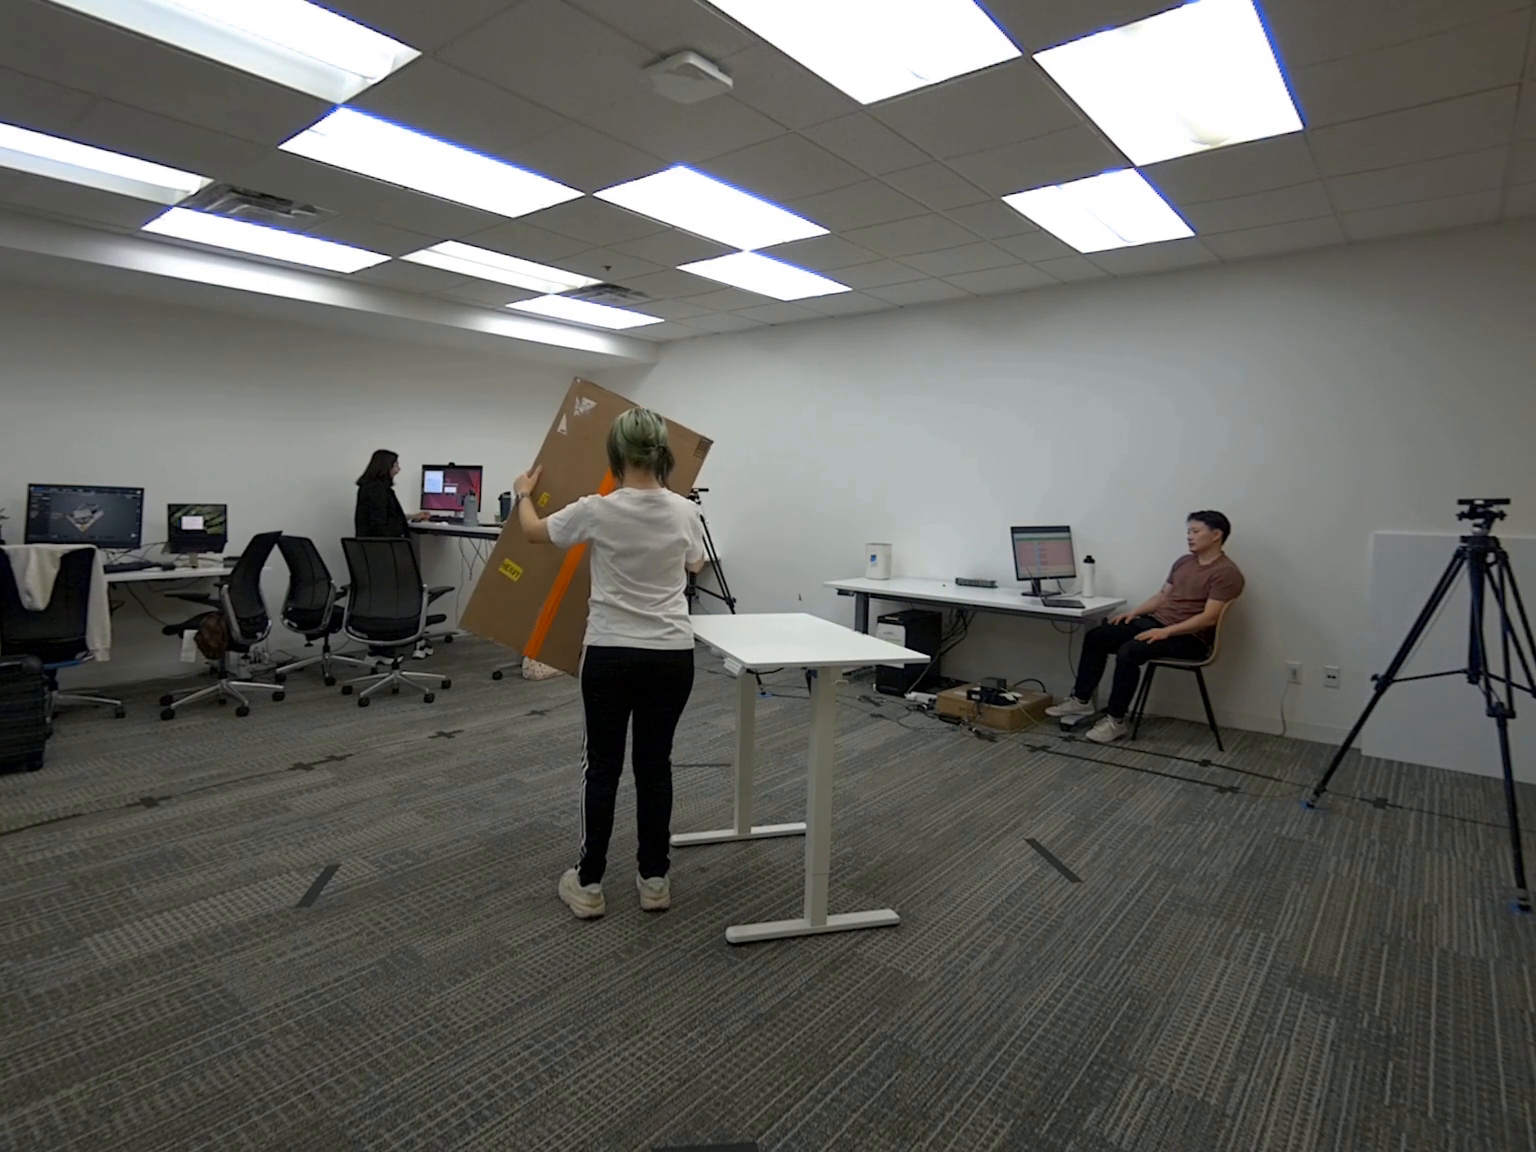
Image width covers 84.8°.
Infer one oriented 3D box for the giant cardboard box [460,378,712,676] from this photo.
[{"bbox_3d":[-0.723,-0.170,3.354,0.577,1.029,0.451,25,-5,-10],"label":"giant cardboard box"}]
